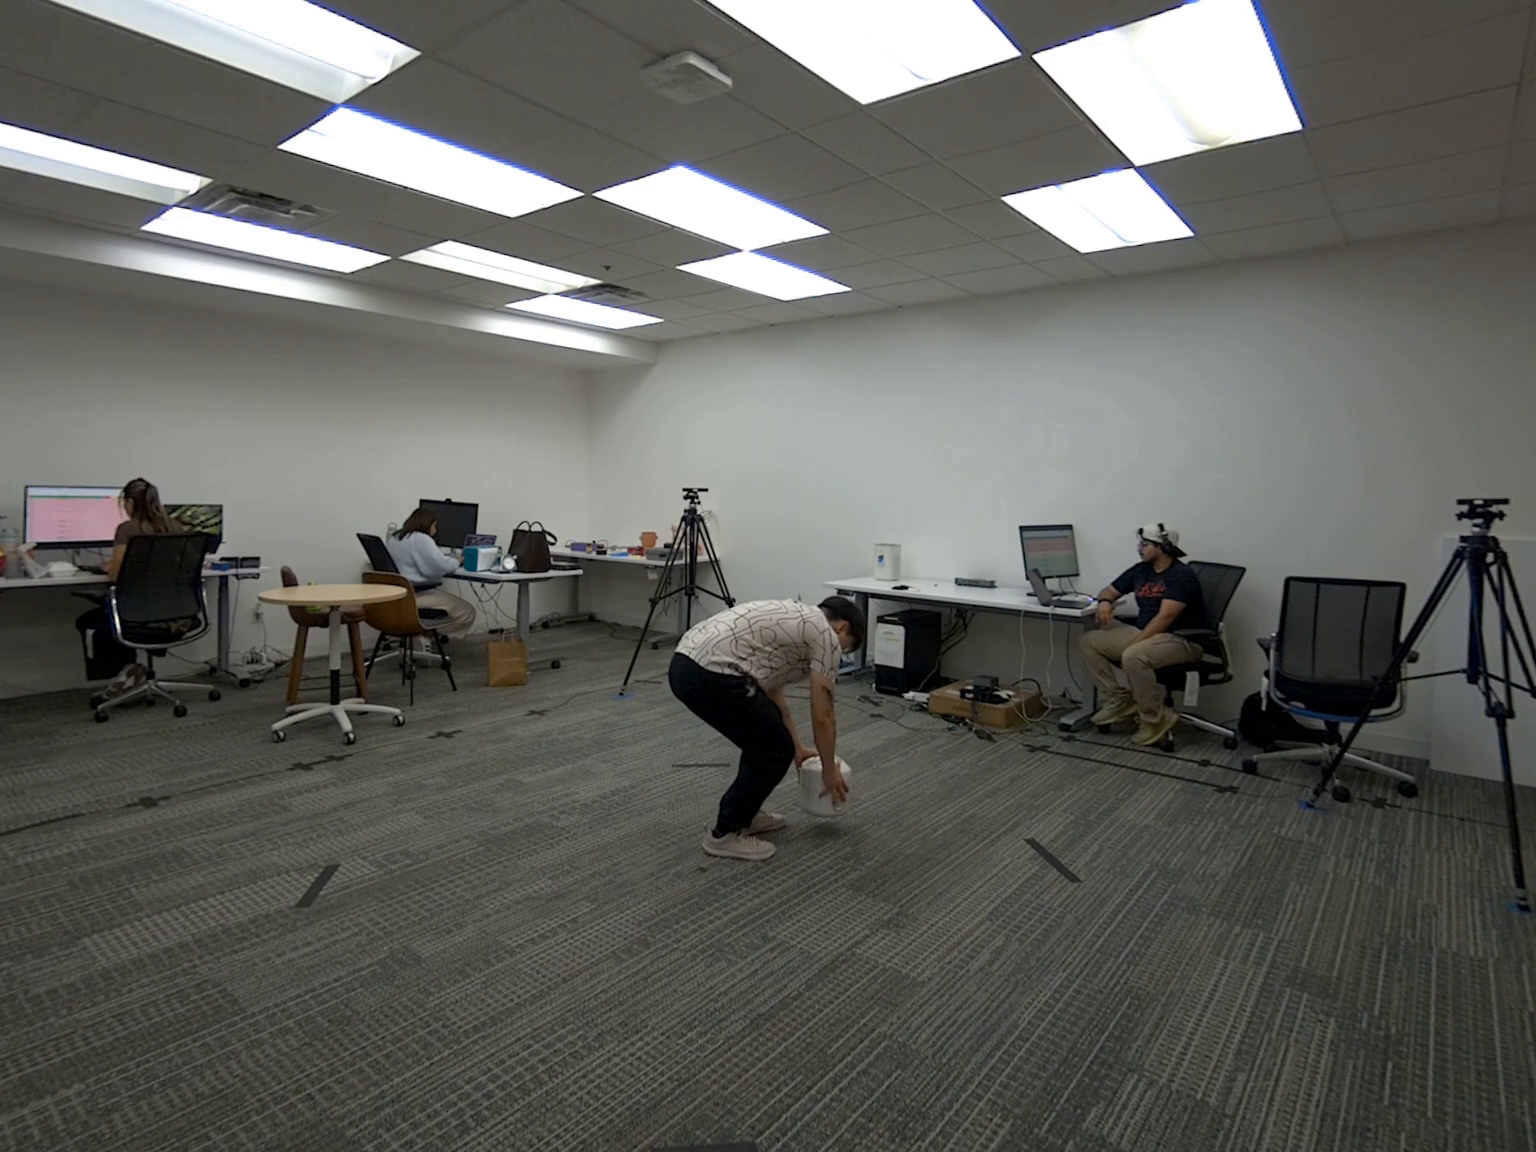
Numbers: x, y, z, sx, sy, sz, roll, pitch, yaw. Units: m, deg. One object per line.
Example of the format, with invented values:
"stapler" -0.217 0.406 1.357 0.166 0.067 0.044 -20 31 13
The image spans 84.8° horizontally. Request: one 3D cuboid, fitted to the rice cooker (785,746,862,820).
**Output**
"rice cooker" 0.225 0.849 3.488 0.215 0.233 0.223 3 0 -27
